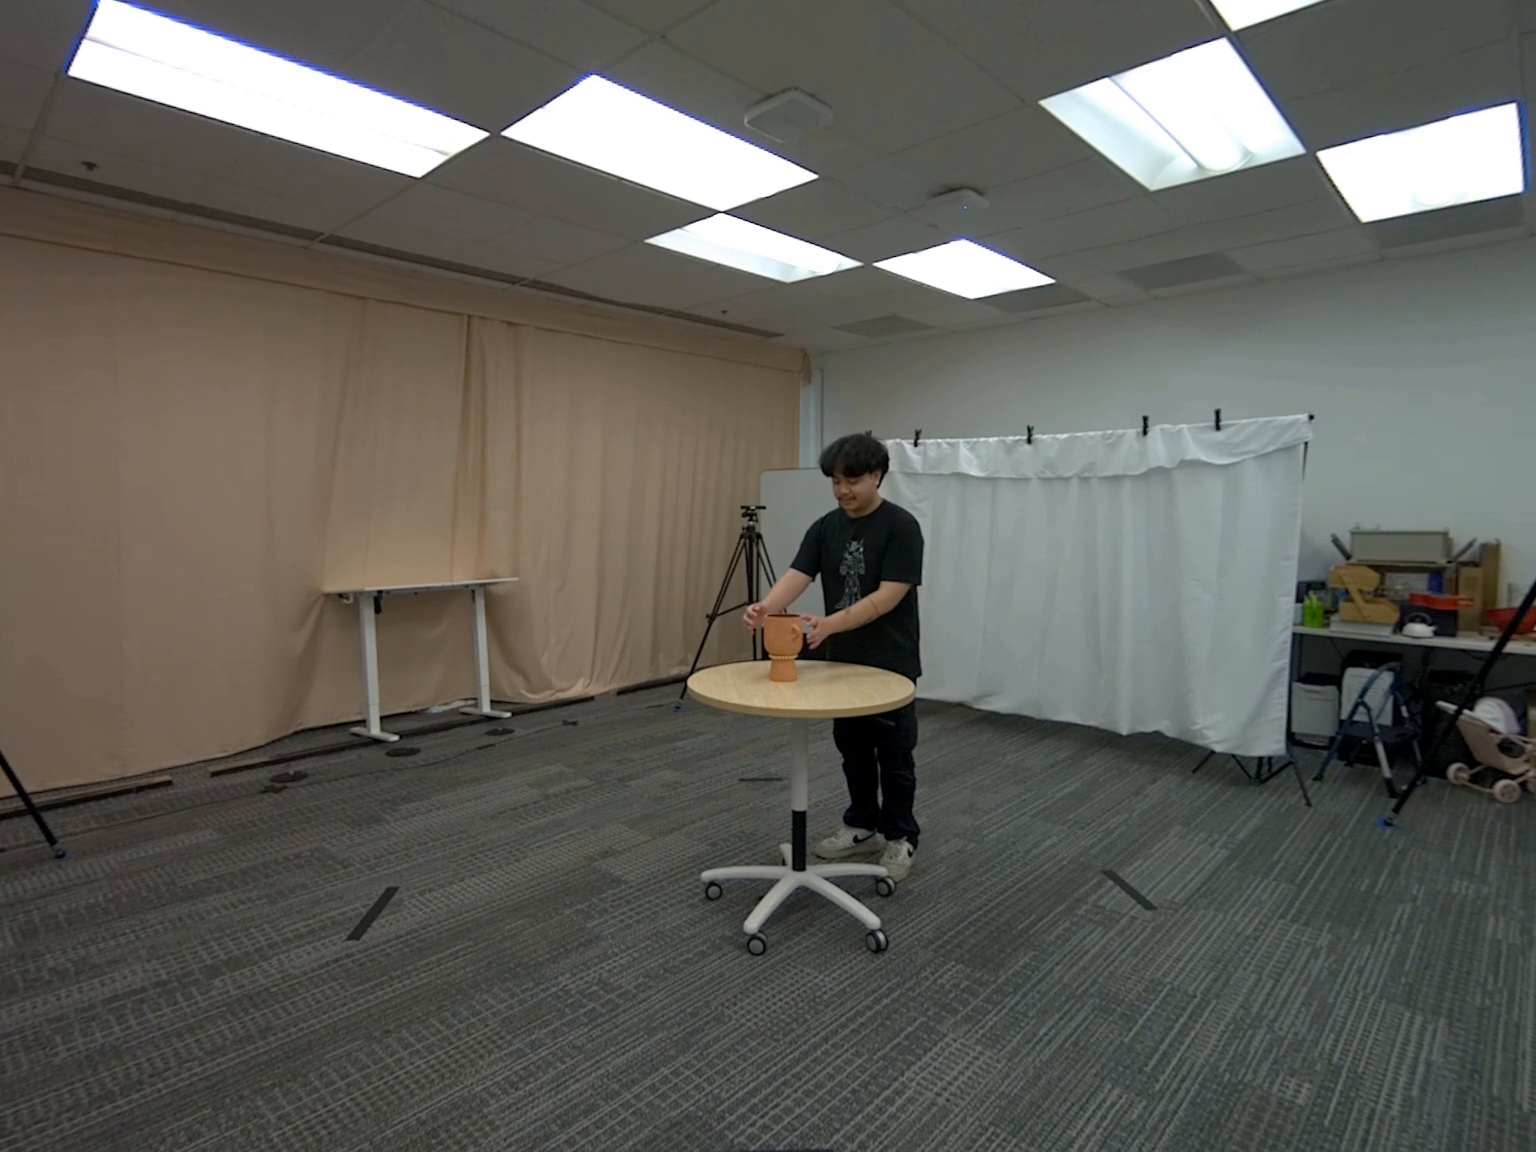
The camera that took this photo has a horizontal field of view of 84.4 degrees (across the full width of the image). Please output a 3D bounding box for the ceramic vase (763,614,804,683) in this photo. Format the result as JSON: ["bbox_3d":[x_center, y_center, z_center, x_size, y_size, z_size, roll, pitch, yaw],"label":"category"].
[{"bbox_3d":[0.059,0.247,2.898,0.155,0.219,0.138,0,4,-27],"label":"ceramic vase"}]
